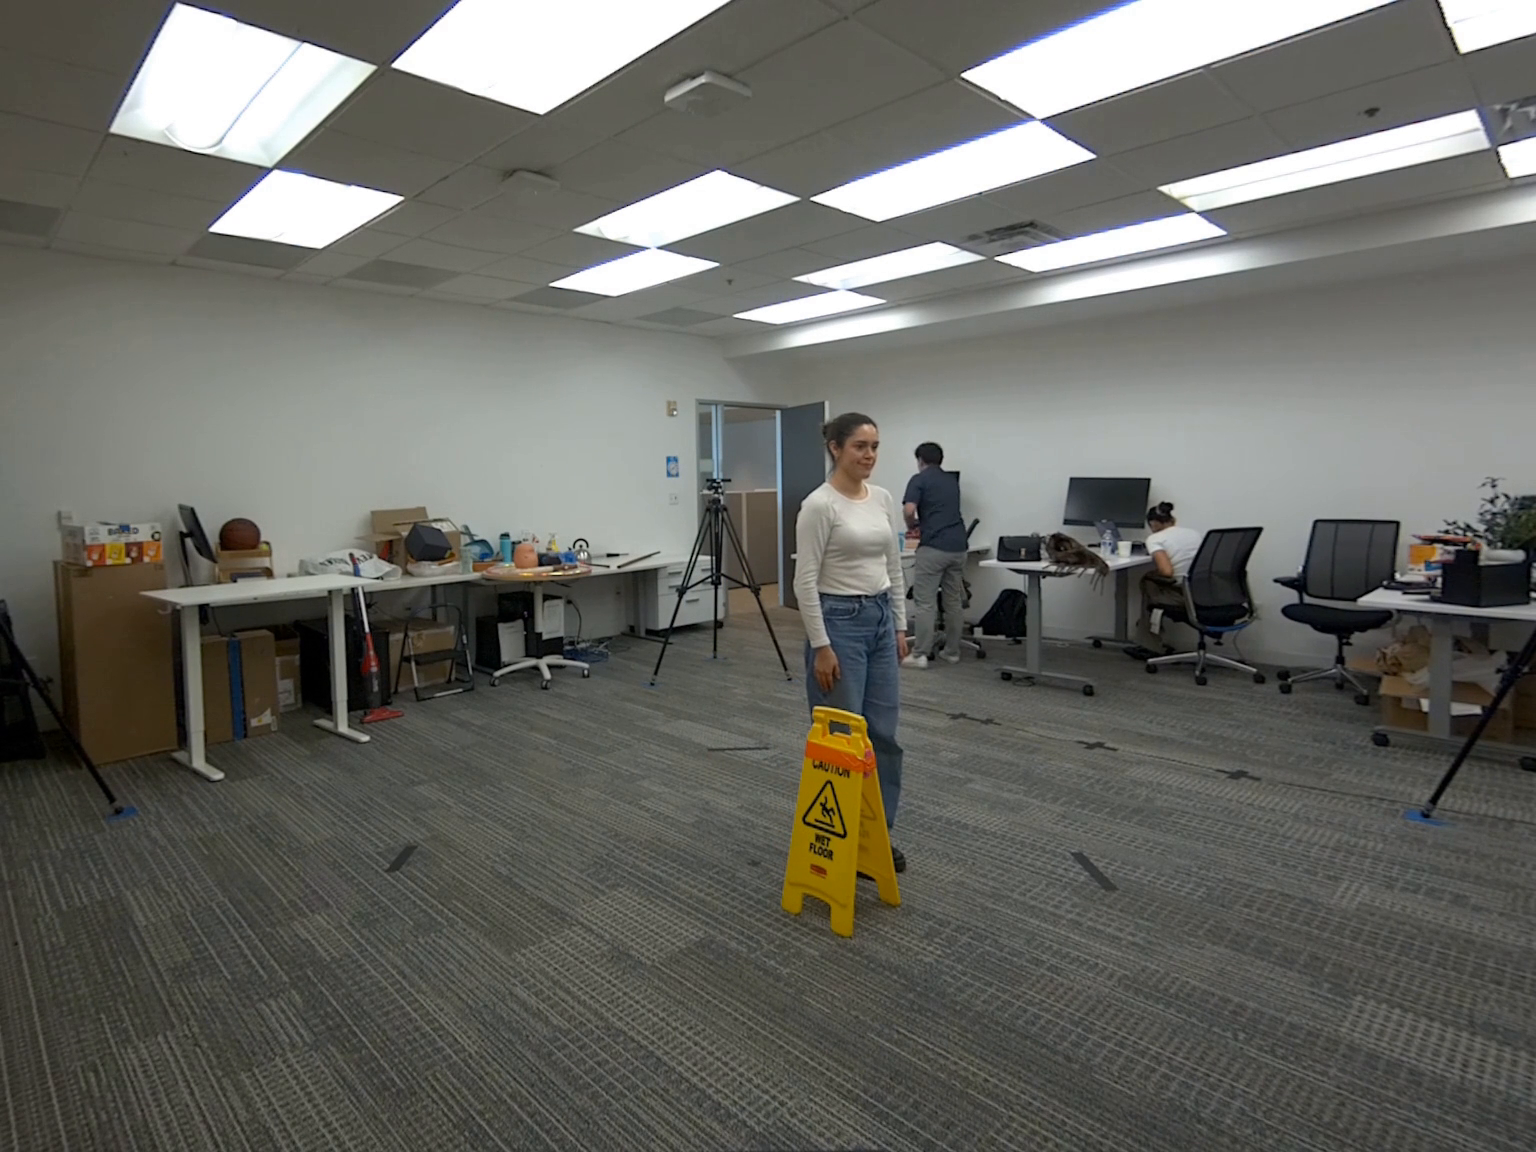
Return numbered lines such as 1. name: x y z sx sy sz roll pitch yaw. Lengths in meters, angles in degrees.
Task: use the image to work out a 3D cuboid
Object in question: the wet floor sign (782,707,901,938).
1. wet floor sign: 0.233 0.758 2.758 0.291 0.644 0.282 2 6 45
